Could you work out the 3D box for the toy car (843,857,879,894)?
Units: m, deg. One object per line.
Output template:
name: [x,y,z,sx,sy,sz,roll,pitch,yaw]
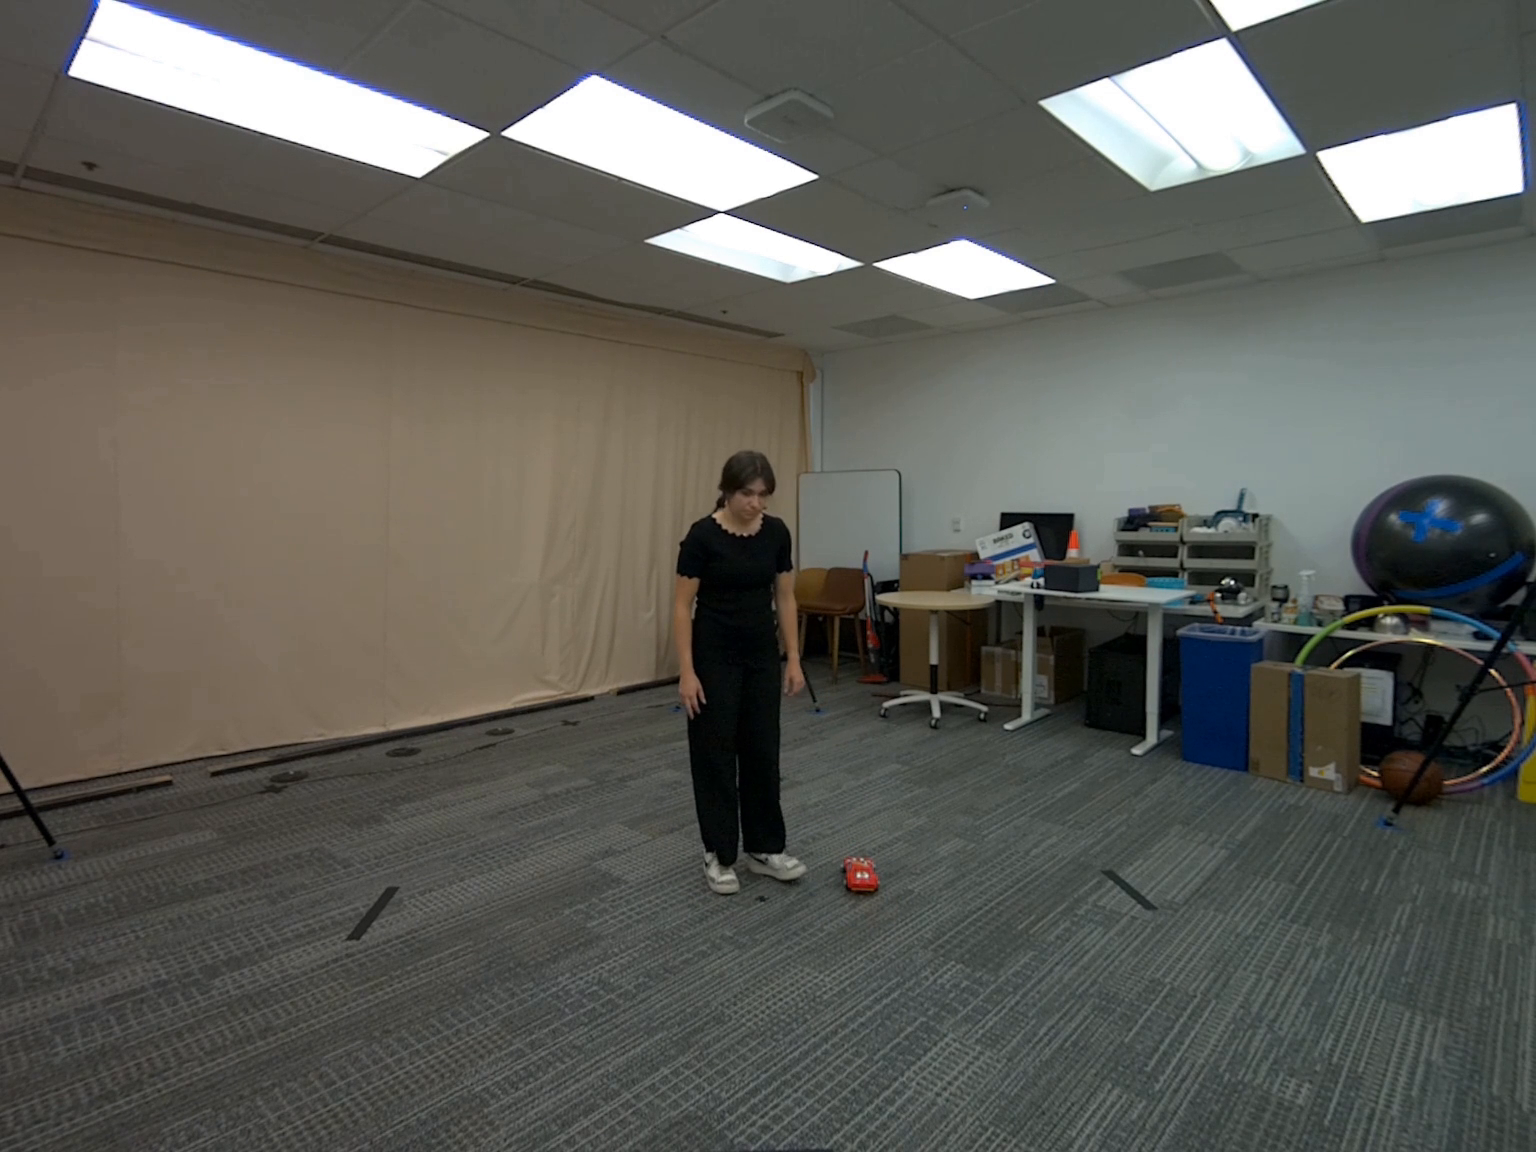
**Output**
toy car: [0.345,1.101,3.095,0.131,0.083,0.252,0,-6,2]
